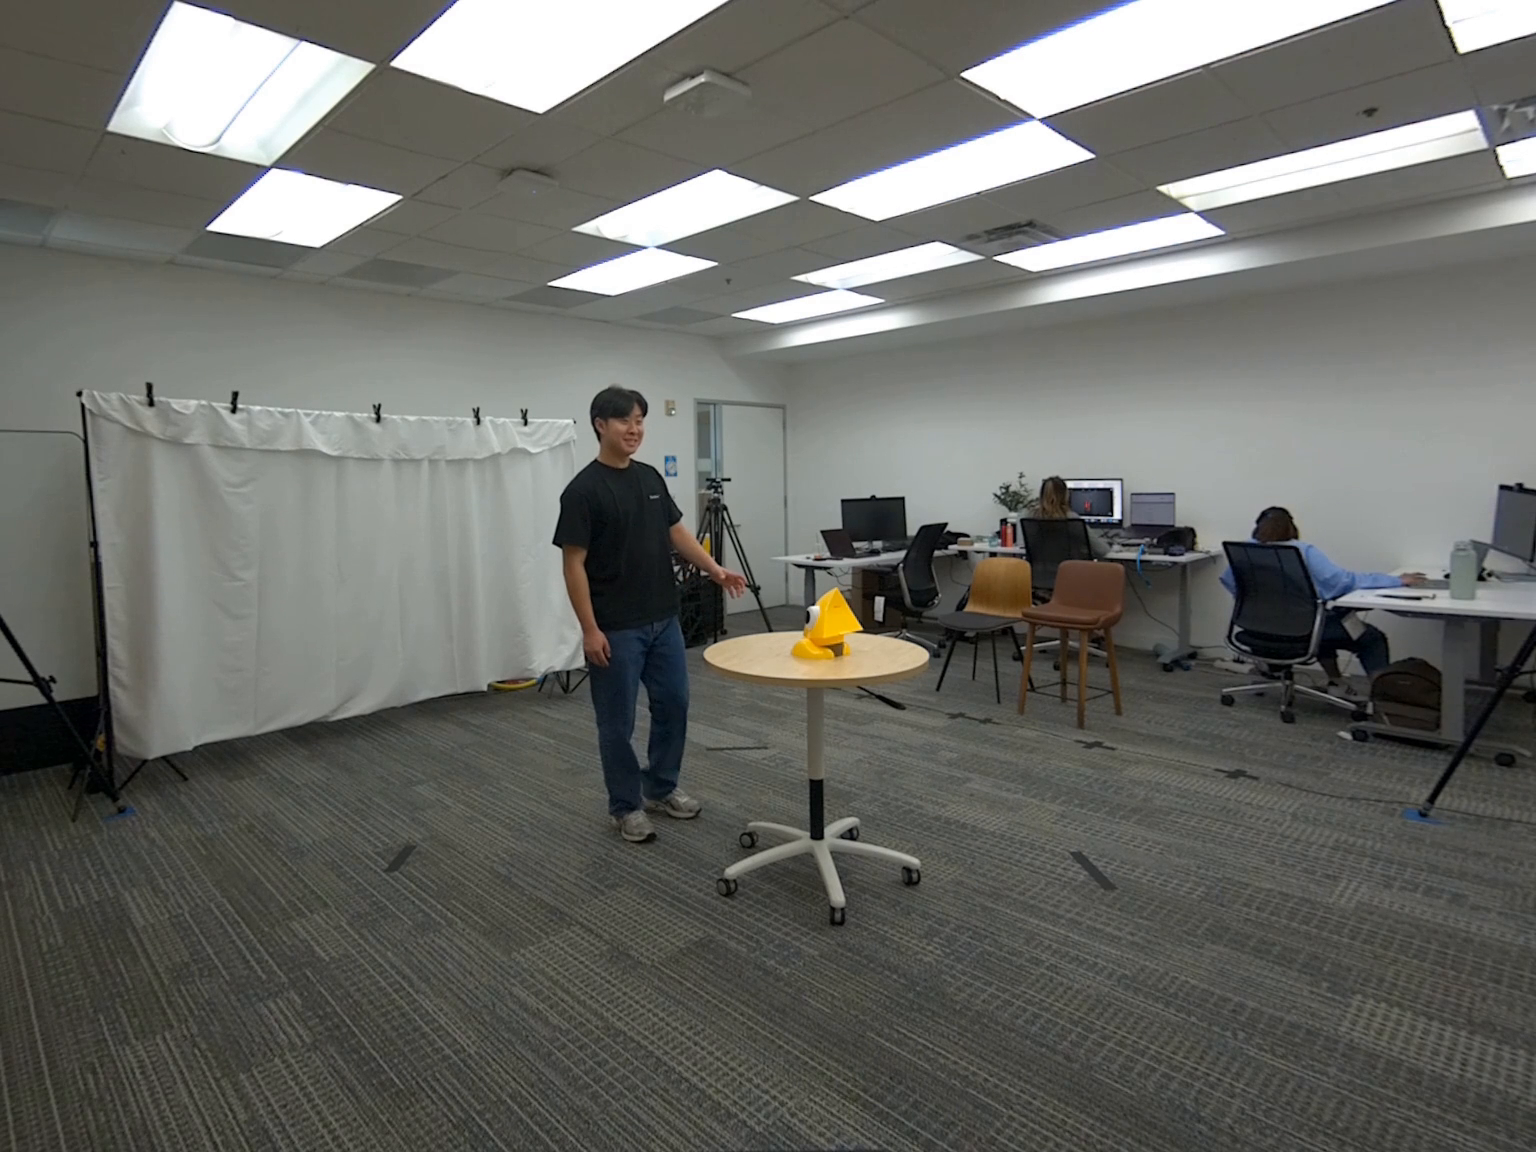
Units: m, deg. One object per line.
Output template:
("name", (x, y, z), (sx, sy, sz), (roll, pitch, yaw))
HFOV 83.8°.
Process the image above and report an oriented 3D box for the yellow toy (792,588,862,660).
("yellow toy", (0.196, 0.150, 2.907), (0.199, 0.230, 0.199), (-6, 7, -45))
